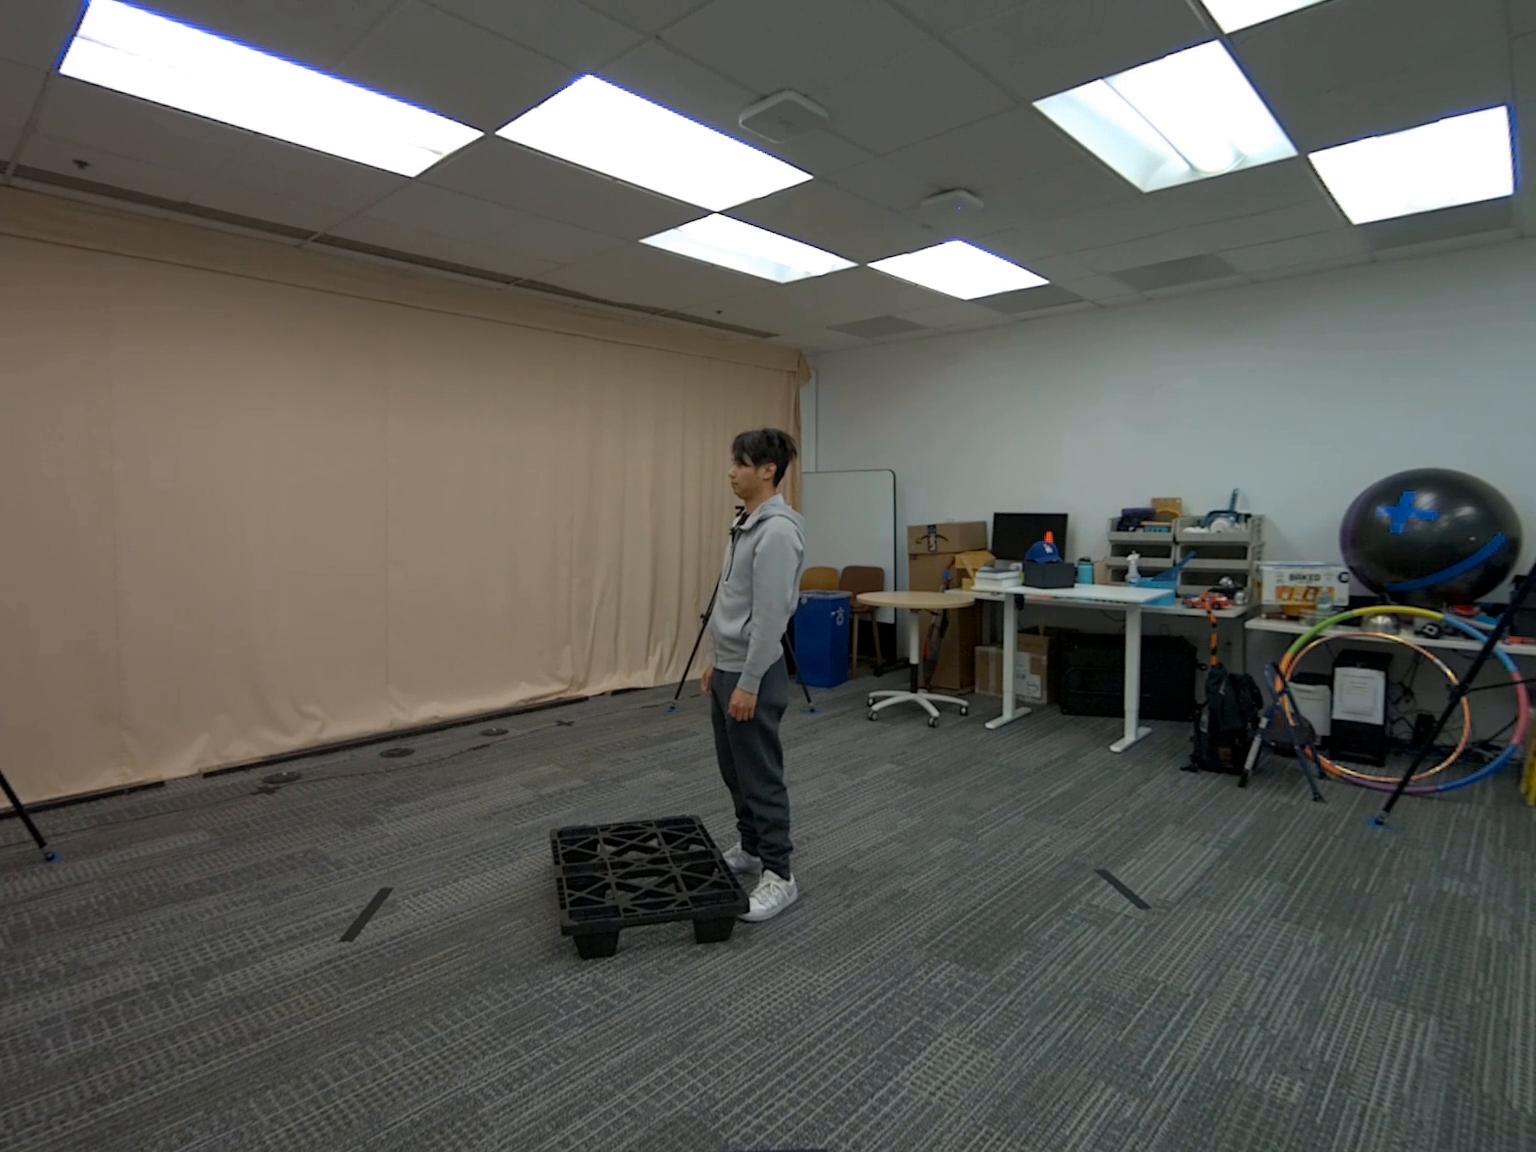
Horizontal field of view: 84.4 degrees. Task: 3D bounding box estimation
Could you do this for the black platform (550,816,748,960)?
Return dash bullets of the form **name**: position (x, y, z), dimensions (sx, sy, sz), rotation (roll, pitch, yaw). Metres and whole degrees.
- **black platform**: position (-0.458, 1.079, 2.989), dimensions (0.596, 0.143, 0.820), rotation (-2, 5, -15)
